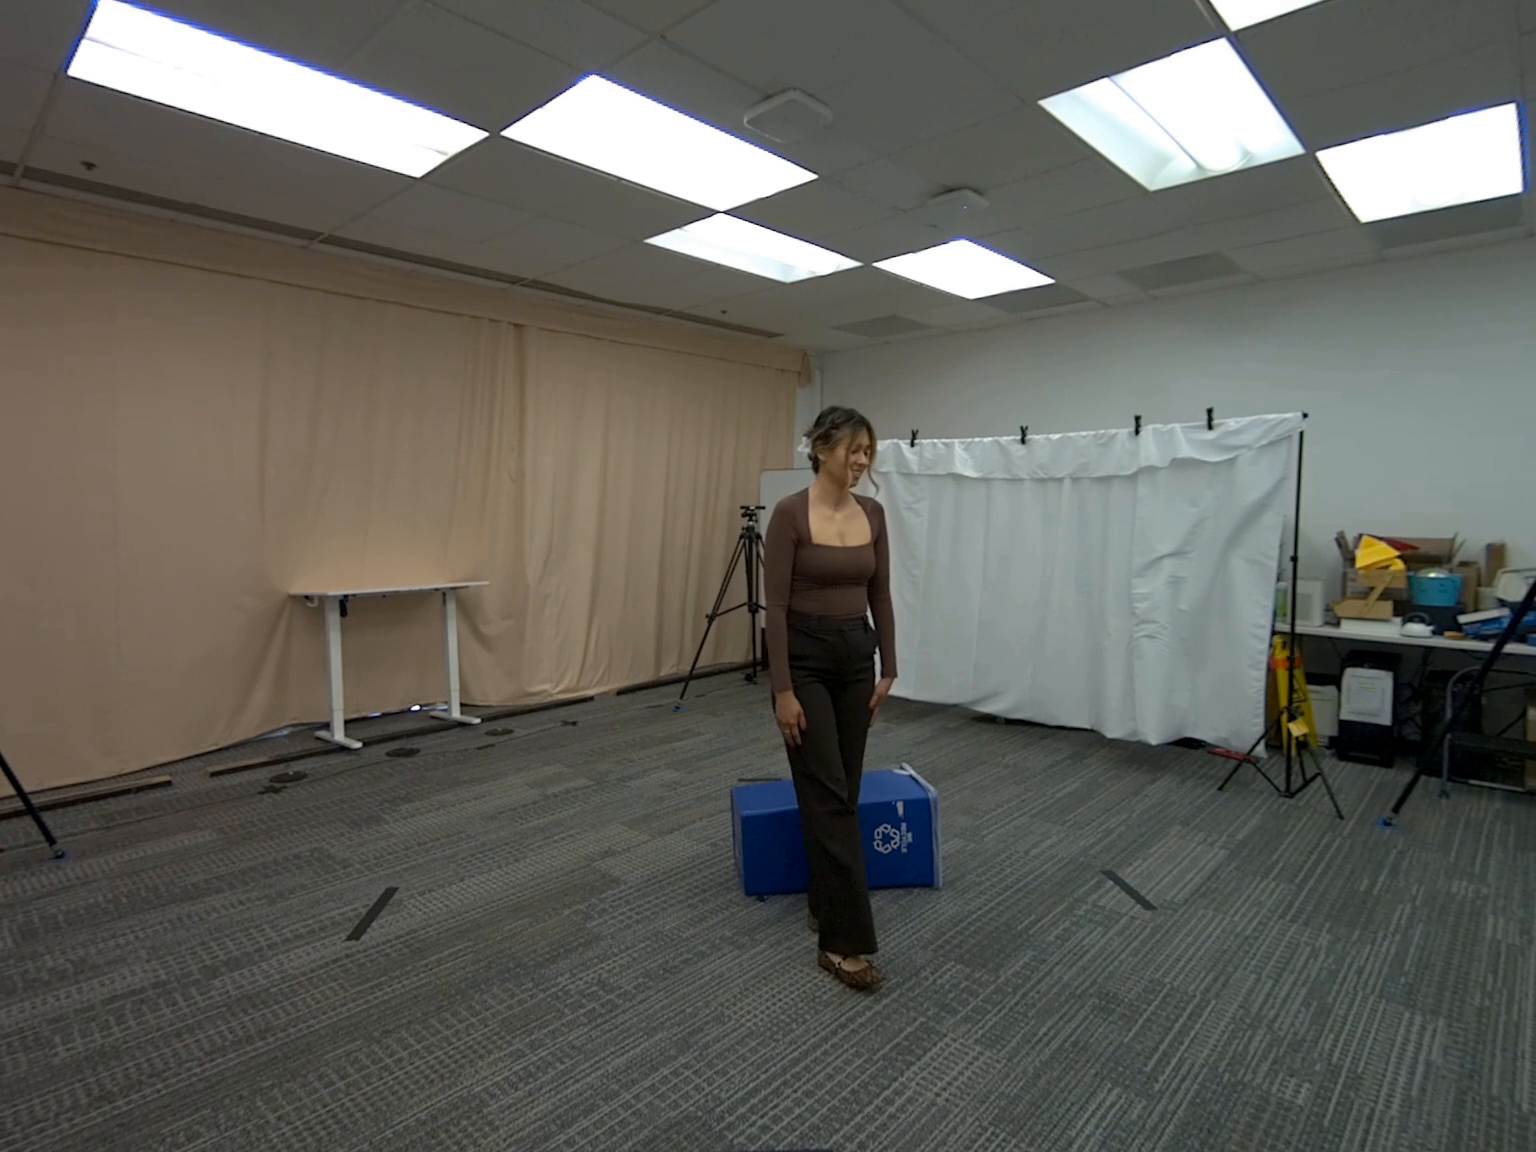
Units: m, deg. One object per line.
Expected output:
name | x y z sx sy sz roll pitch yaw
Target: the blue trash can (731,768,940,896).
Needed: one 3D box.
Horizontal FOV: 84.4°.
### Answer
blue trash can | 0.242 0.965 3.170 0.708 0.377 0.378 -3 4 -7
